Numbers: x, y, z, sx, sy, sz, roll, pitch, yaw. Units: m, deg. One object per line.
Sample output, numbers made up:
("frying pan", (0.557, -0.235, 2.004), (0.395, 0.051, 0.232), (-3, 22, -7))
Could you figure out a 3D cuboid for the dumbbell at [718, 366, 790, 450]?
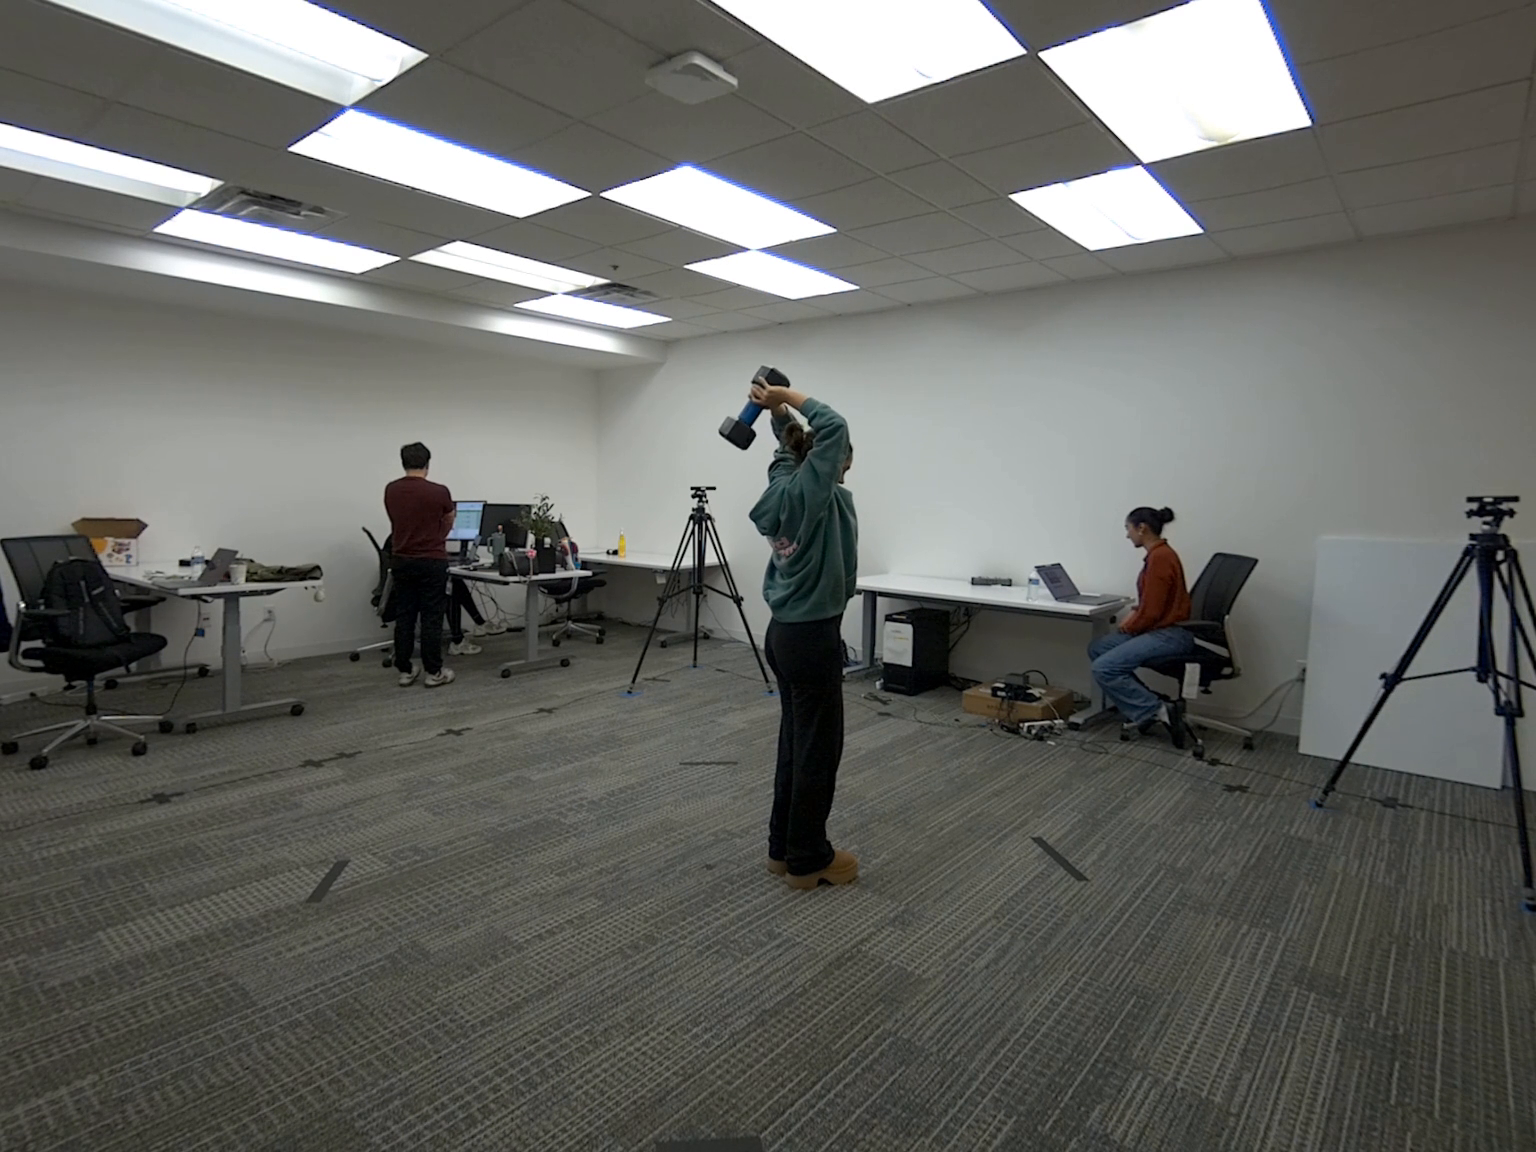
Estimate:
("dumbbell", (-0.049, -0.589, 2.958), (0.121, 0.293, 0.110), (35, 2, -11))
